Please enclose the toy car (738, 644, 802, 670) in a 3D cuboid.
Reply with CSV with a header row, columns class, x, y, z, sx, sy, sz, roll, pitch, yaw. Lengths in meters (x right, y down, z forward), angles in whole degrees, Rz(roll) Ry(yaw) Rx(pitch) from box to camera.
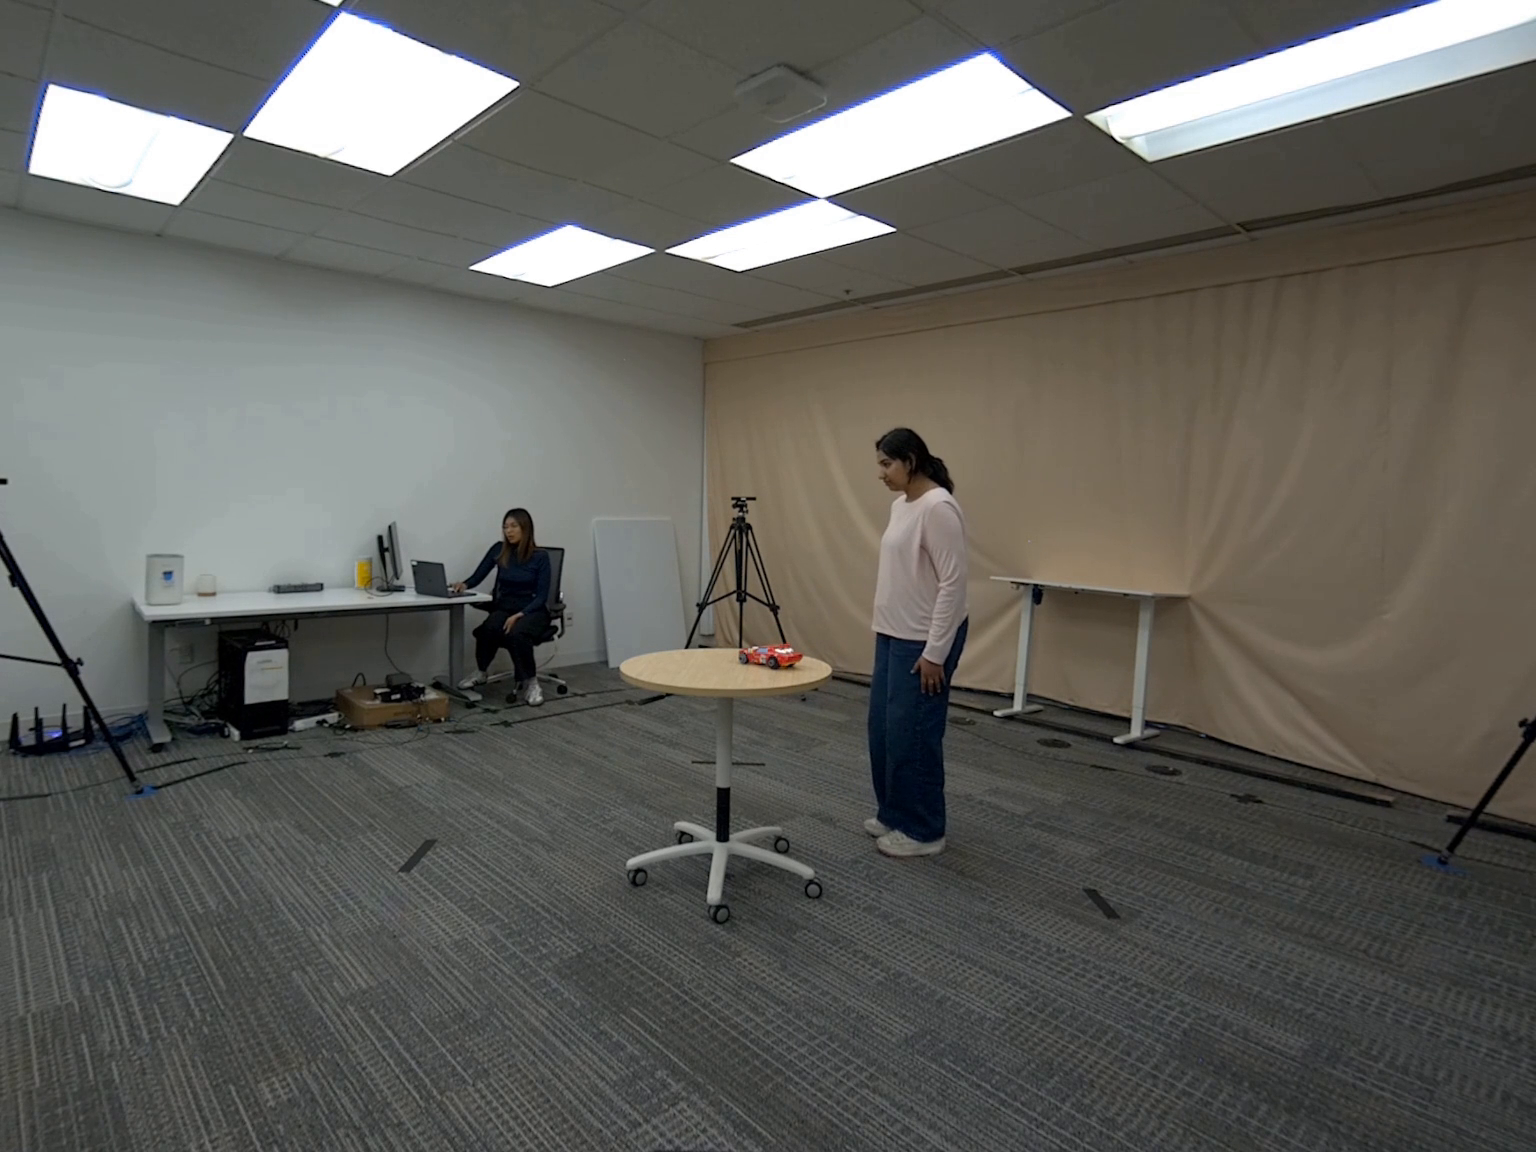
class,x,y,z,sx,sy,sz,roll,pitch,yaw
toy car,0.006,0.298,3.069,0.259,0.083,0.127,-10,-4,42
